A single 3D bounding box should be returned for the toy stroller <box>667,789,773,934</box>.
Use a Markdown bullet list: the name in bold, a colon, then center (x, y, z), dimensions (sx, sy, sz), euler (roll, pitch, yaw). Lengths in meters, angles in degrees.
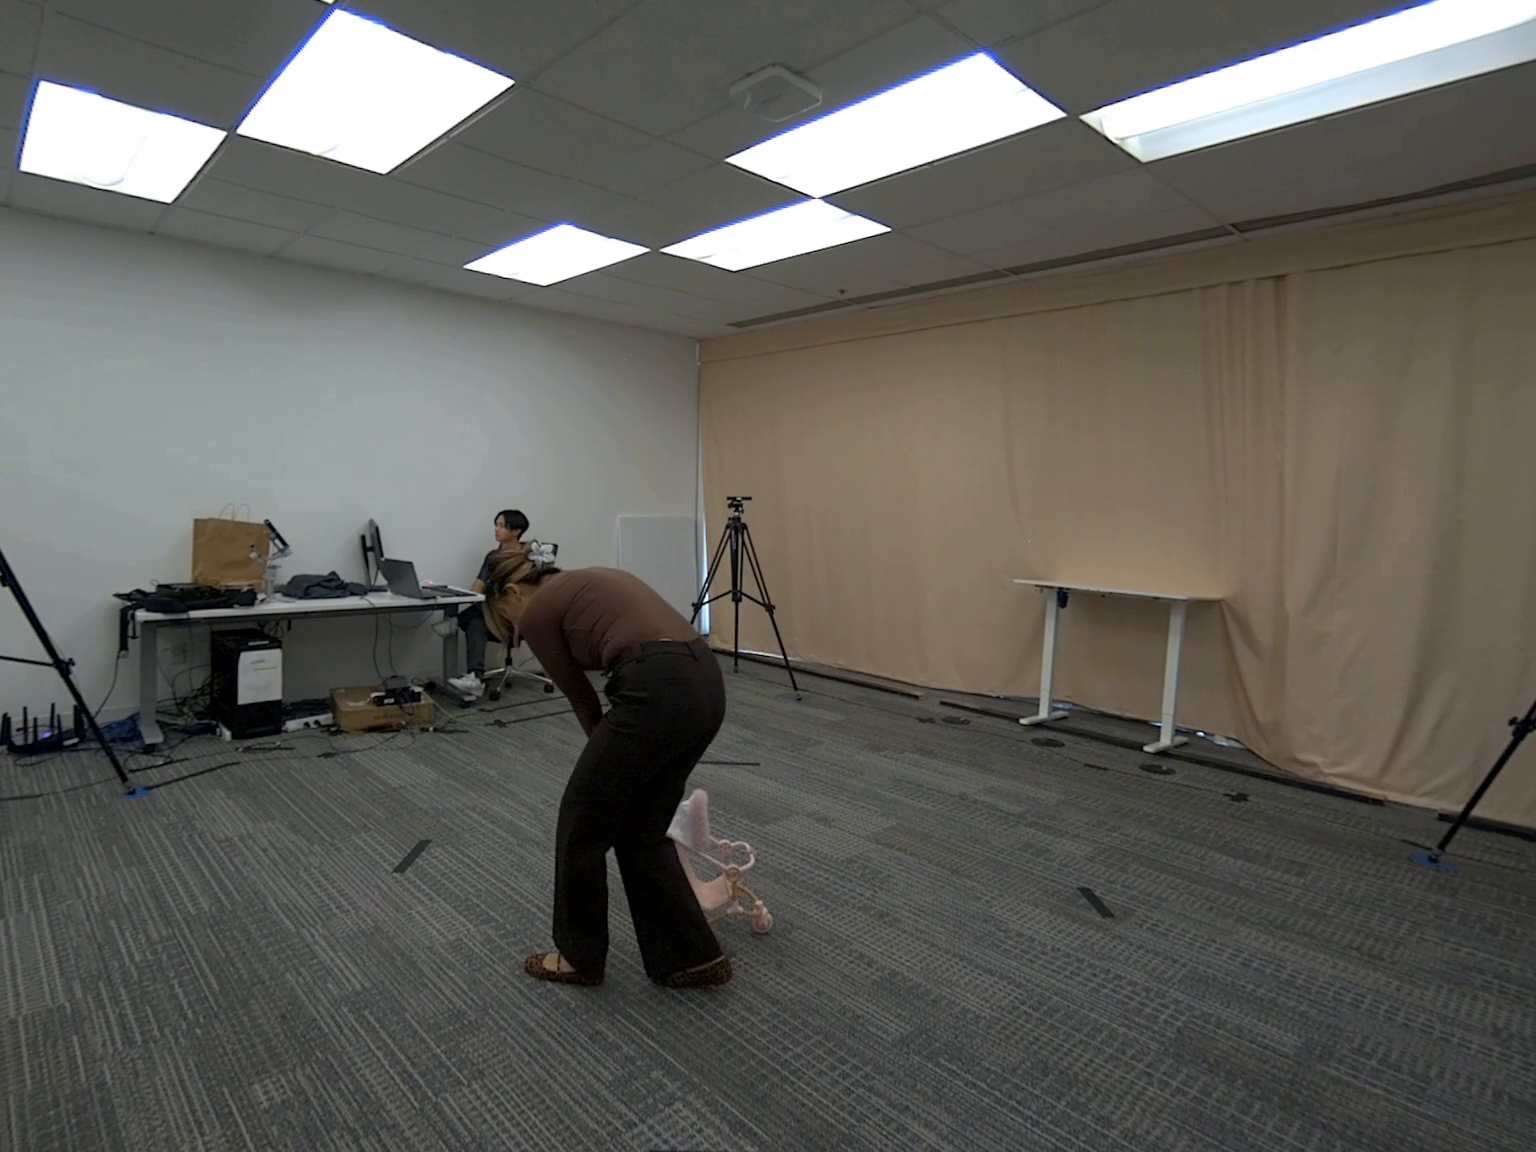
- **toy stroller**: center (-0.205, 0.917, 2.669), dimensions (0.341, 0.533, 0.283), euler (-15, 4, -3)
